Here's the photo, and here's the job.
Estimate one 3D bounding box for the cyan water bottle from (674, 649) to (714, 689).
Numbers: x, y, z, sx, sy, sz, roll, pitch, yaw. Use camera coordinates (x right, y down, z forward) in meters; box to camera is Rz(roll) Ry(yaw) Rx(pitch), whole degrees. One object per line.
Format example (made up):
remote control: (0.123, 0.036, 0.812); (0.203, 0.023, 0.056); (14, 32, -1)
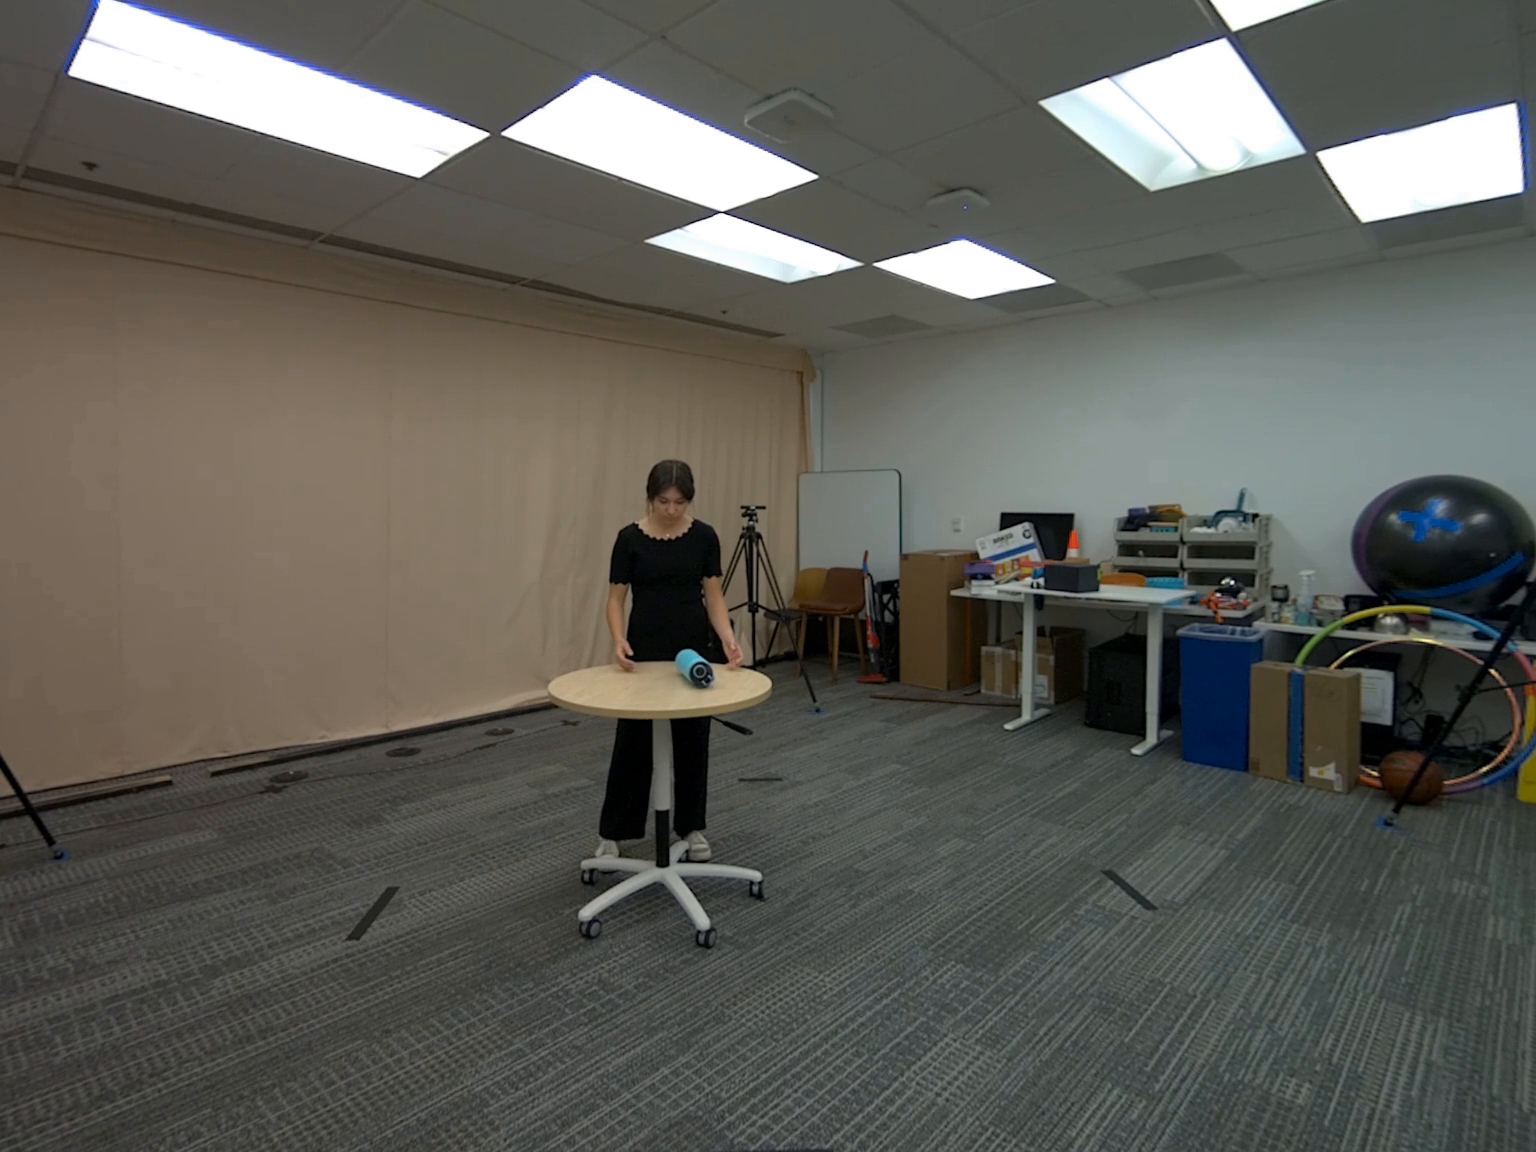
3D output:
cyan water bottle: (-0.252, 0.318, 2.918); (0.091, 0.092, 0.288); (-1, 4, -15)
